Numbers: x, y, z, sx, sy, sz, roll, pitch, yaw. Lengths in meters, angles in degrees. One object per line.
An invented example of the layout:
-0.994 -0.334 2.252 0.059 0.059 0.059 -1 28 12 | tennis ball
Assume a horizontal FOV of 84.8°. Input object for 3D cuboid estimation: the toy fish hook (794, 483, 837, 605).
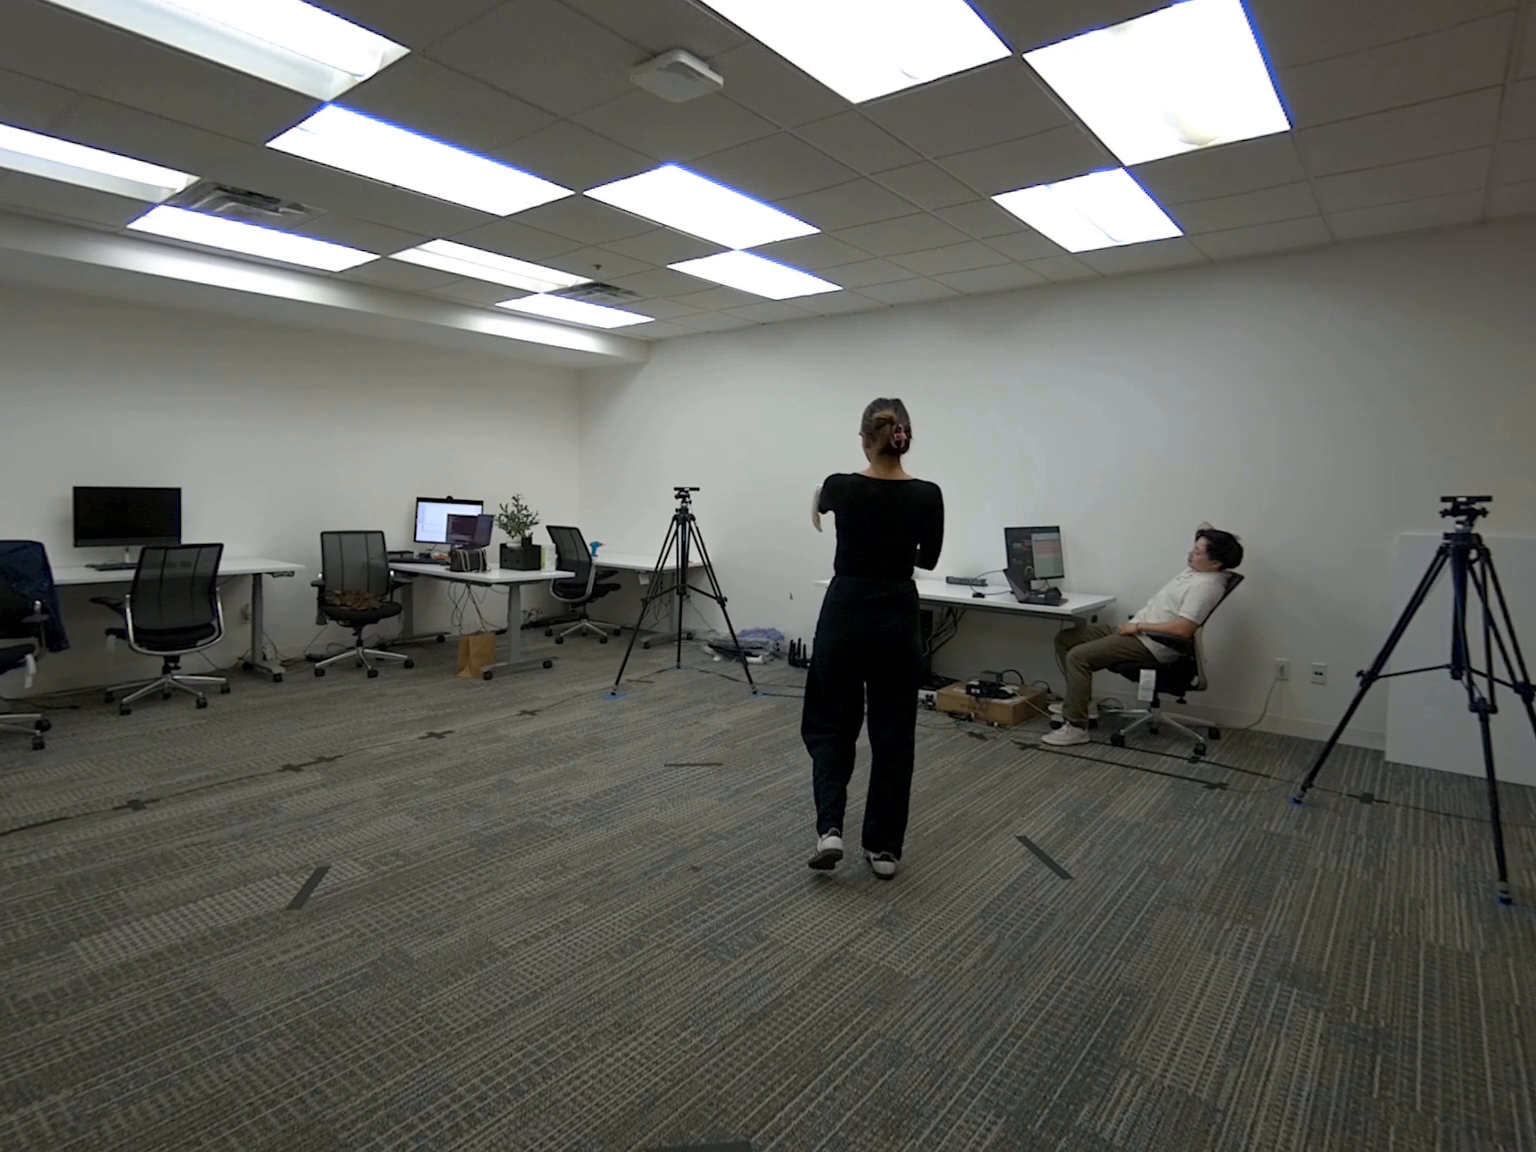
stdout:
0.278 -0.143 3.545 0.220 0.507 0.049 -13 -1 -24 | toy fish hook
